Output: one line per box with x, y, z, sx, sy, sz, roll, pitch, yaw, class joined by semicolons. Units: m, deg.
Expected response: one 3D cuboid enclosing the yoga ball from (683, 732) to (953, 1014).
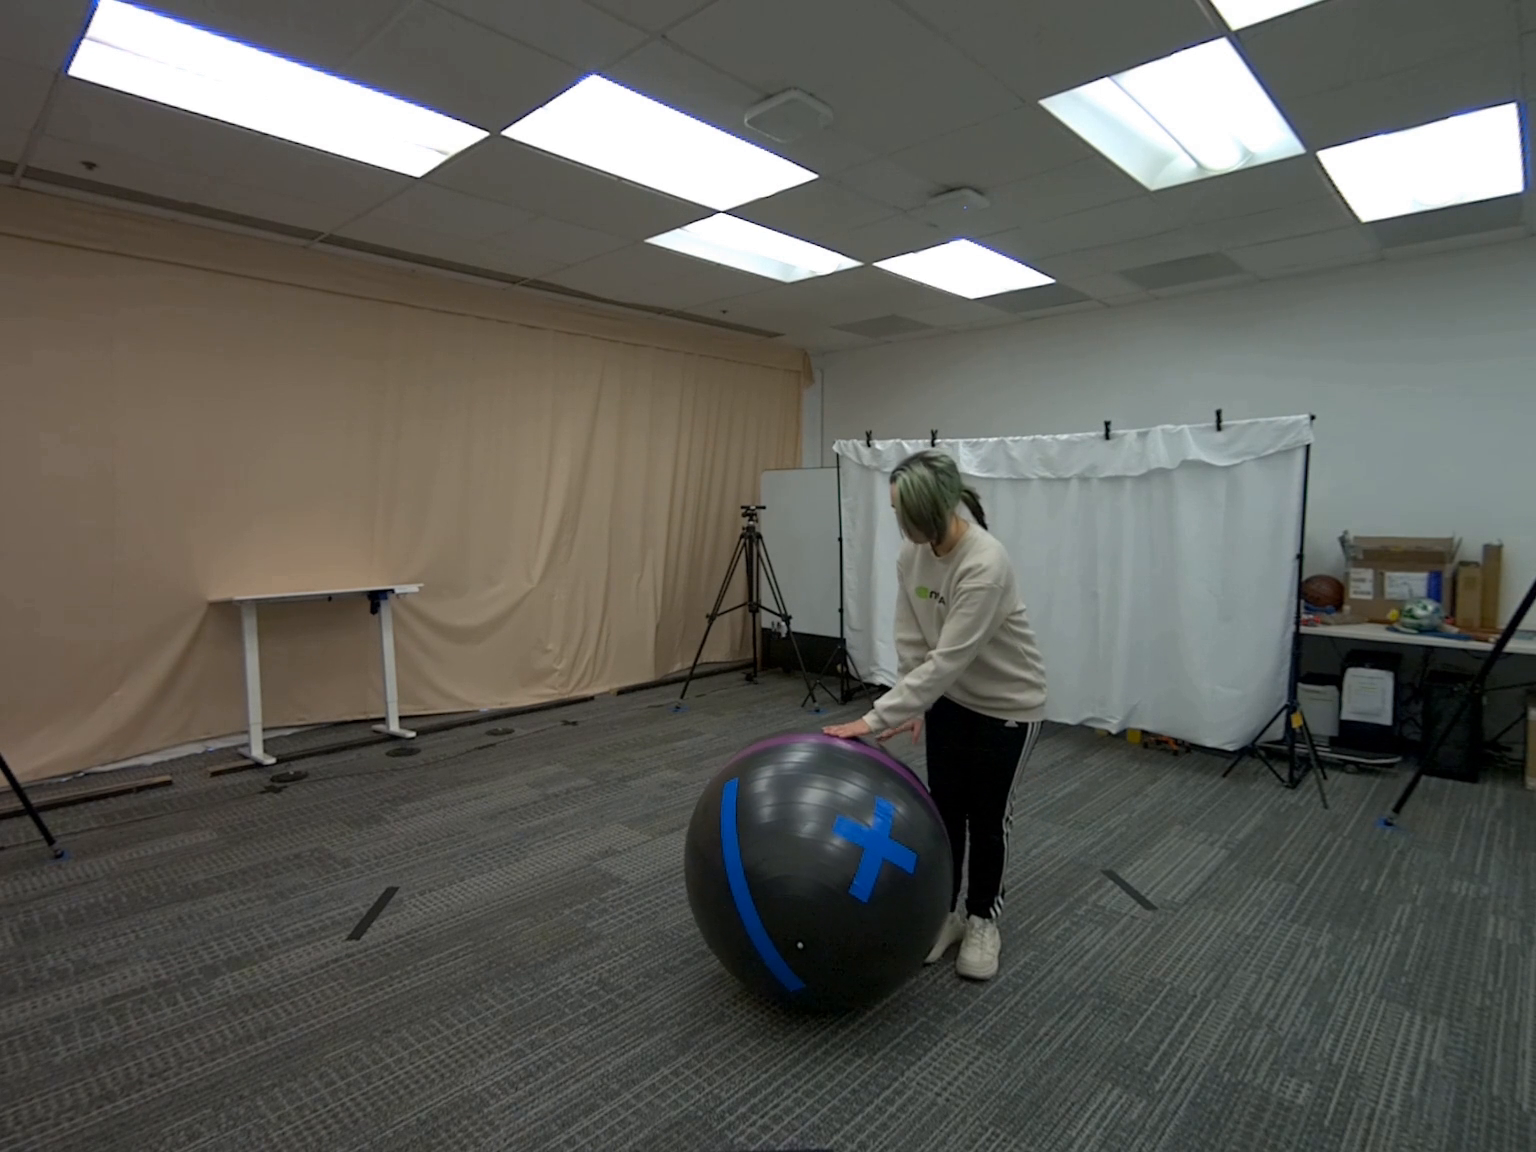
0.135;0.825;2.408;0.757;0.756;0.760;0;4;-2;yoga ball
